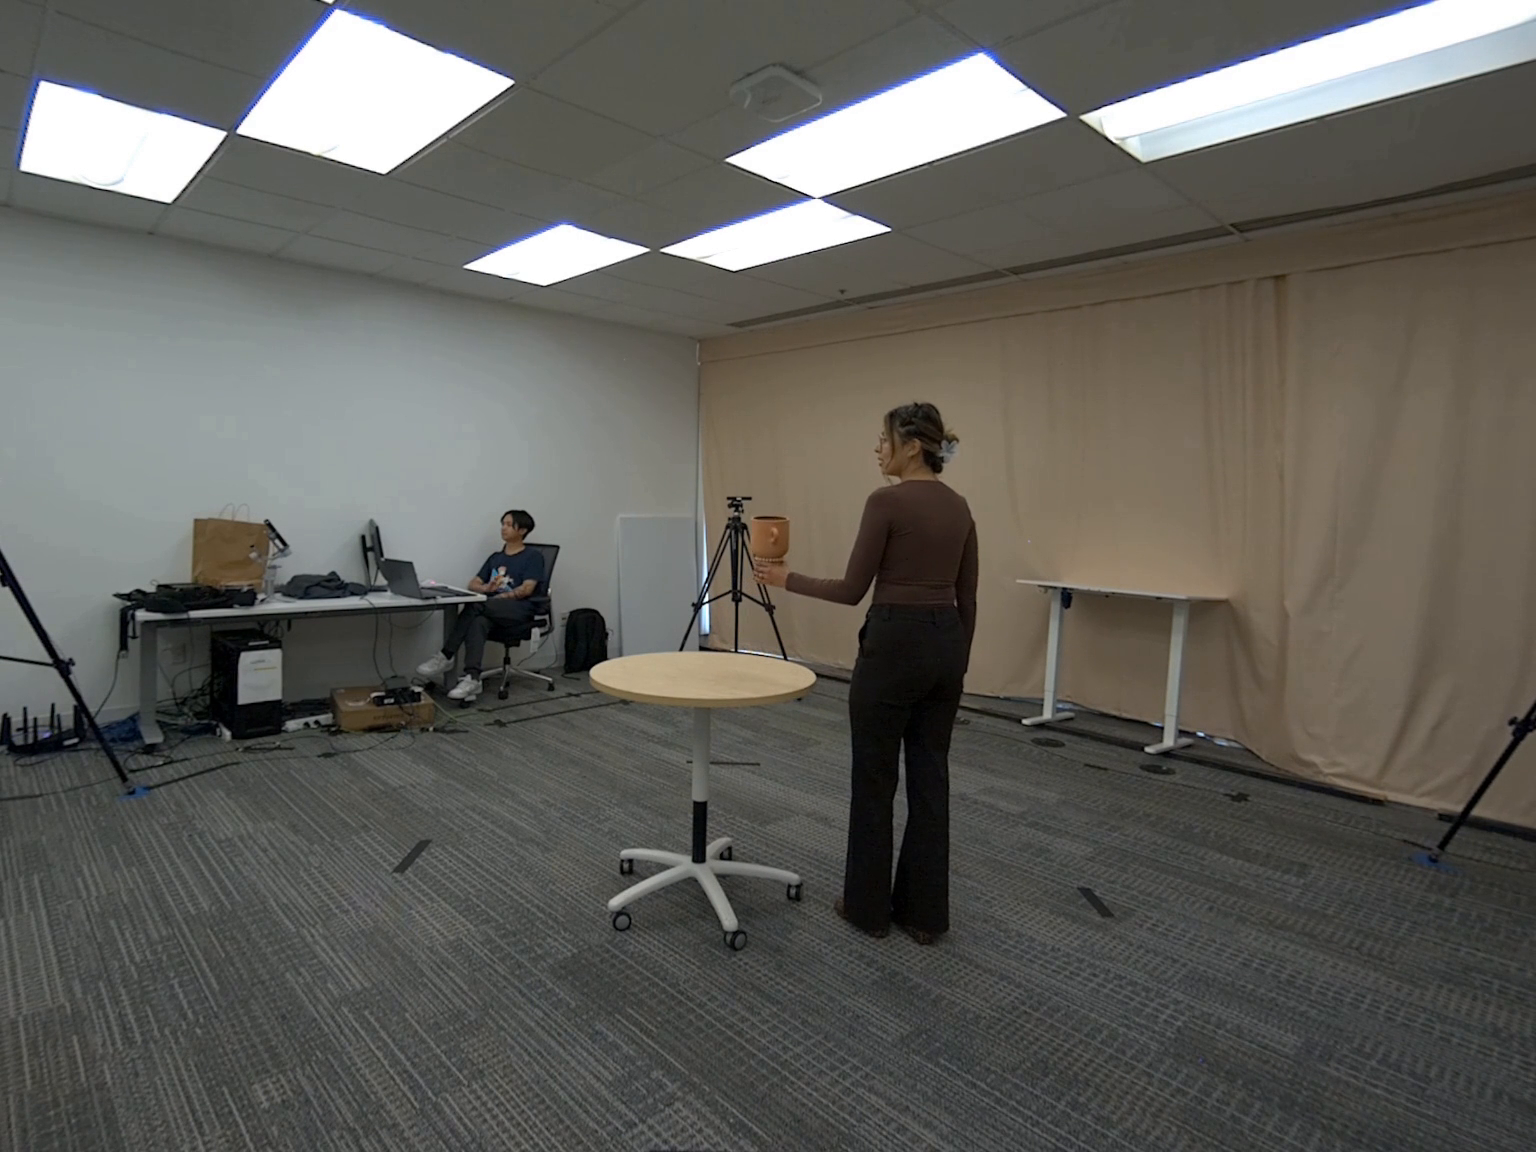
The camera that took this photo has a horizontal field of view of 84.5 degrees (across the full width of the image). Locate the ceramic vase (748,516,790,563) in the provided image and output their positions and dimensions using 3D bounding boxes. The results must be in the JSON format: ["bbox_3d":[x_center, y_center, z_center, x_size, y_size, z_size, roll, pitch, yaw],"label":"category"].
[{"bbox_3d":[-0.004,-0.087,2.864,0.137,0.218,0.156,4,9,28],"label":"ceramic vase"}]
